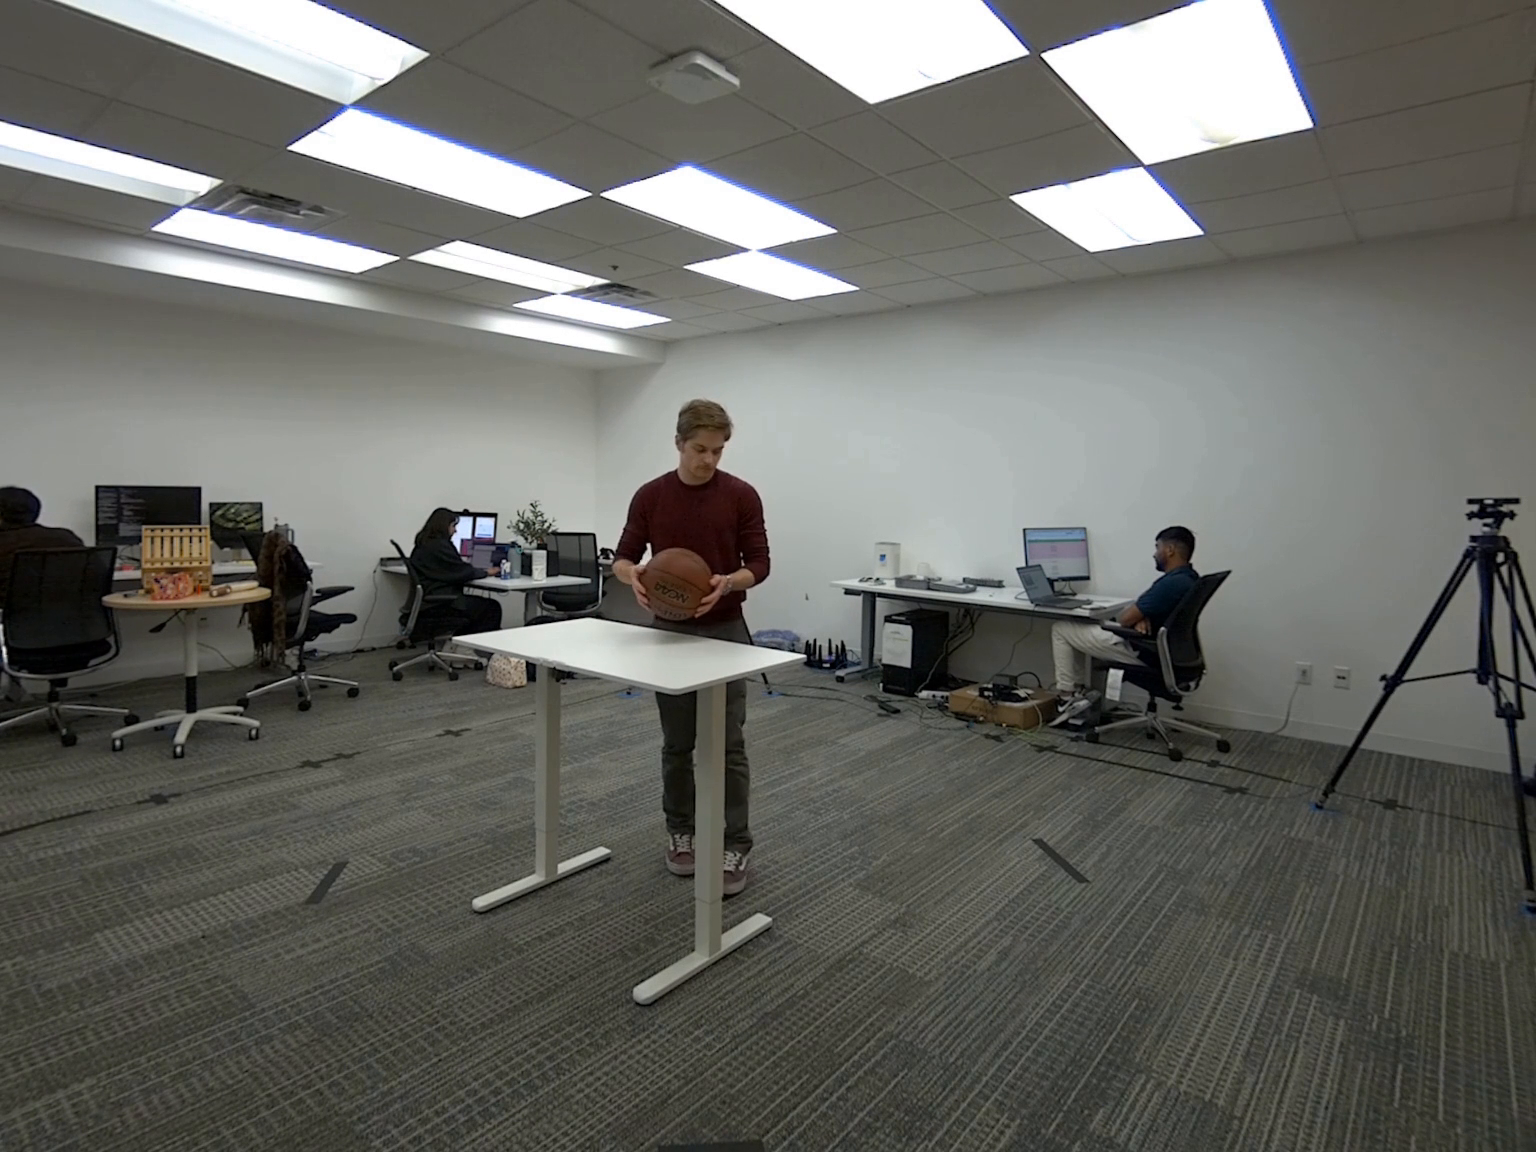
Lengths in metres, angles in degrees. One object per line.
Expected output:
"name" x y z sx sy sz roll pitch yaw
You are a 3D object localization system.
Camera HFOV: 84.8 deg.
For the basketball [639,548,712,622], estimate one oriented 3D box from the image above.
"basketball" -0.302 0.022 2.826 0.235 0.235 0.237 1 4 -2
